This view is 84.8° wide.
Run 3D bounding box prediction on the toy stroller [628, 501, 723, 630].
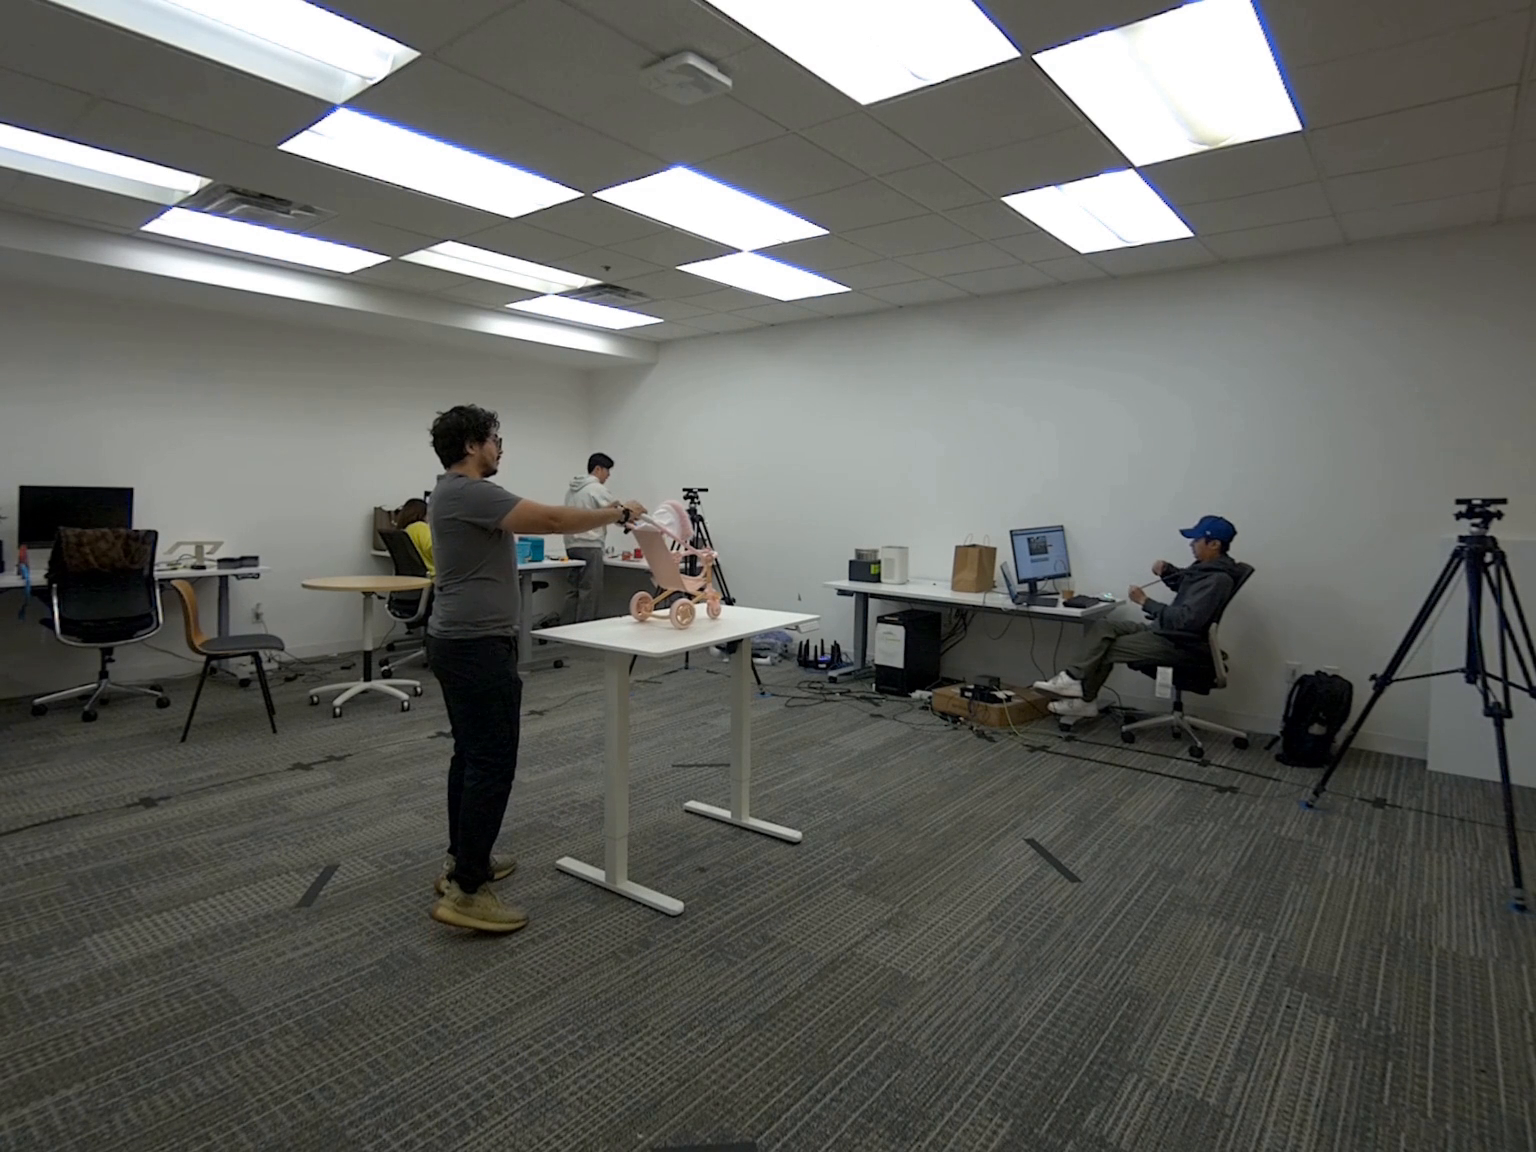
[{"bbox_3d":[-0.361,-0.045,3.183,0.335,0.527,0.291,-22,16,-36],"label":"toy stroller"}]
